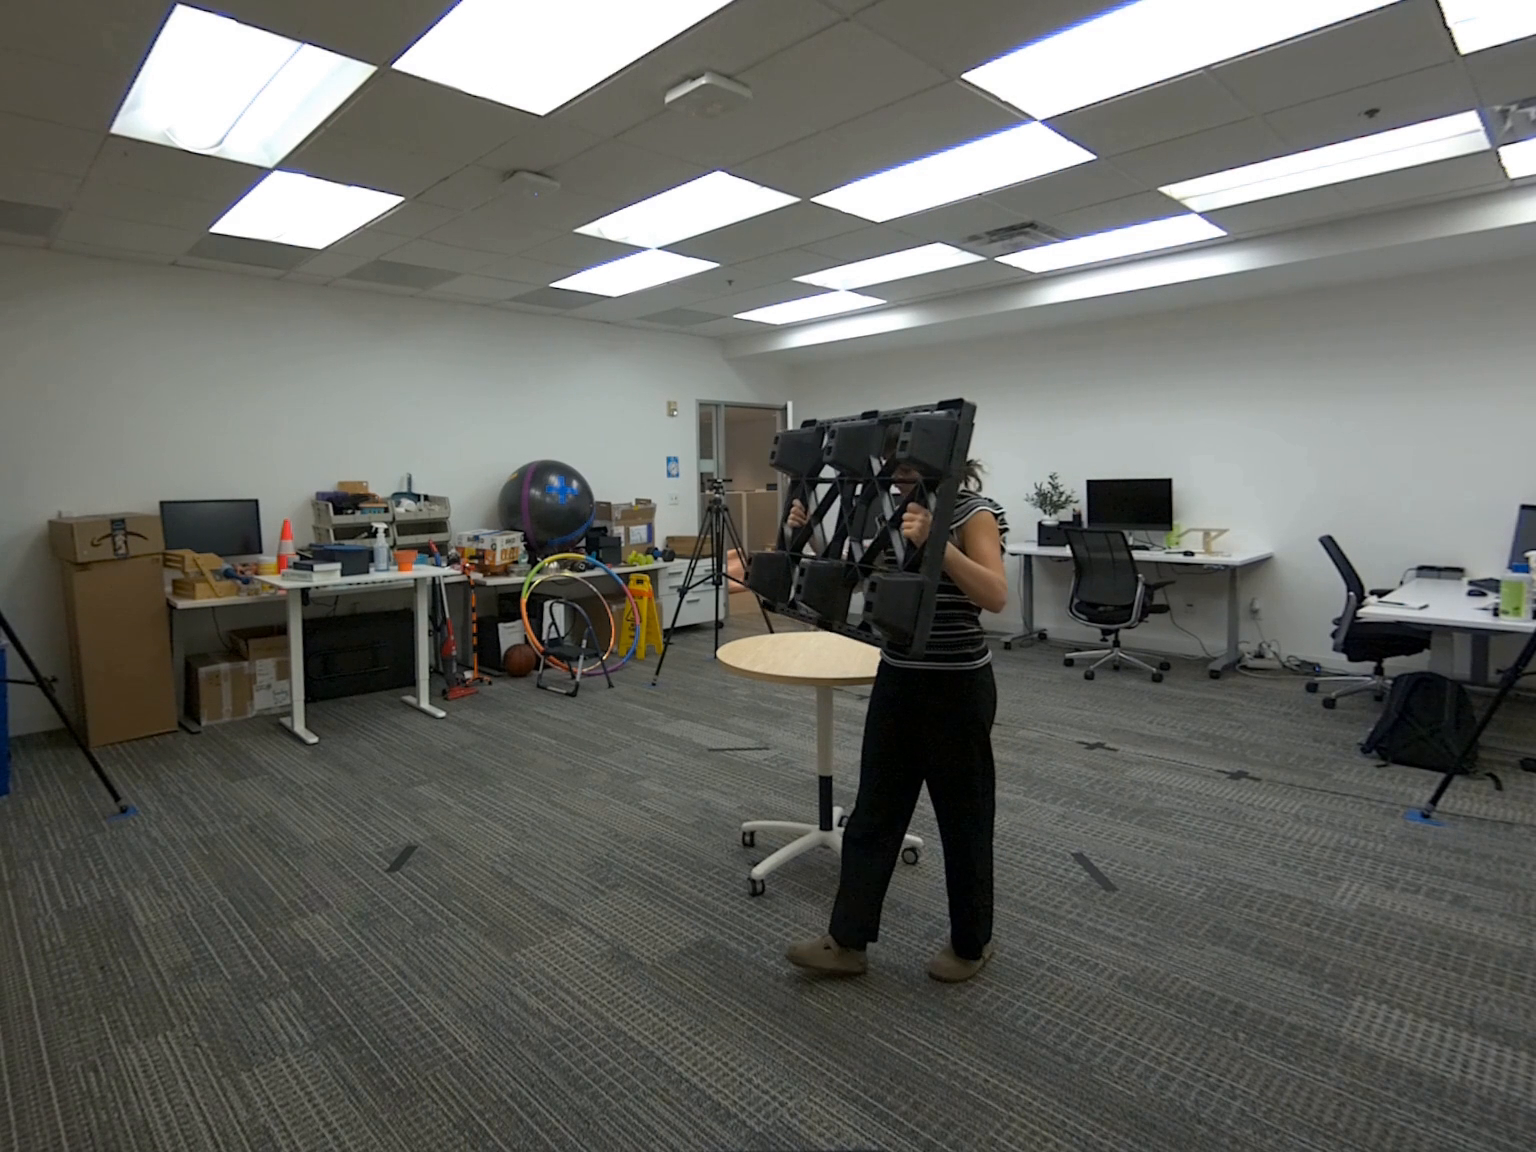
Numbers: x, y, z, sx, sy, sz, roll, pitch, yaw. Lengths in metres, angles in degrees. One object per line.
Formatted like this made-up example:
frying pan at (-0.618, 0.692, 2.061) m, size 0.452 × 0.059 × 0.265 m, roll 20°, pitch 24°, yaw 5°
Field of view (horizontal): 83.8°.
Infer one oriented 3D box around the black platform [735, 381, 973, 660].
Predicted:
black platform at (0.178, -0.155, 2.257) m, size 0.140 × 0.605 × 0.824 m, roll 11°, pitch 1°, yaw -23°
